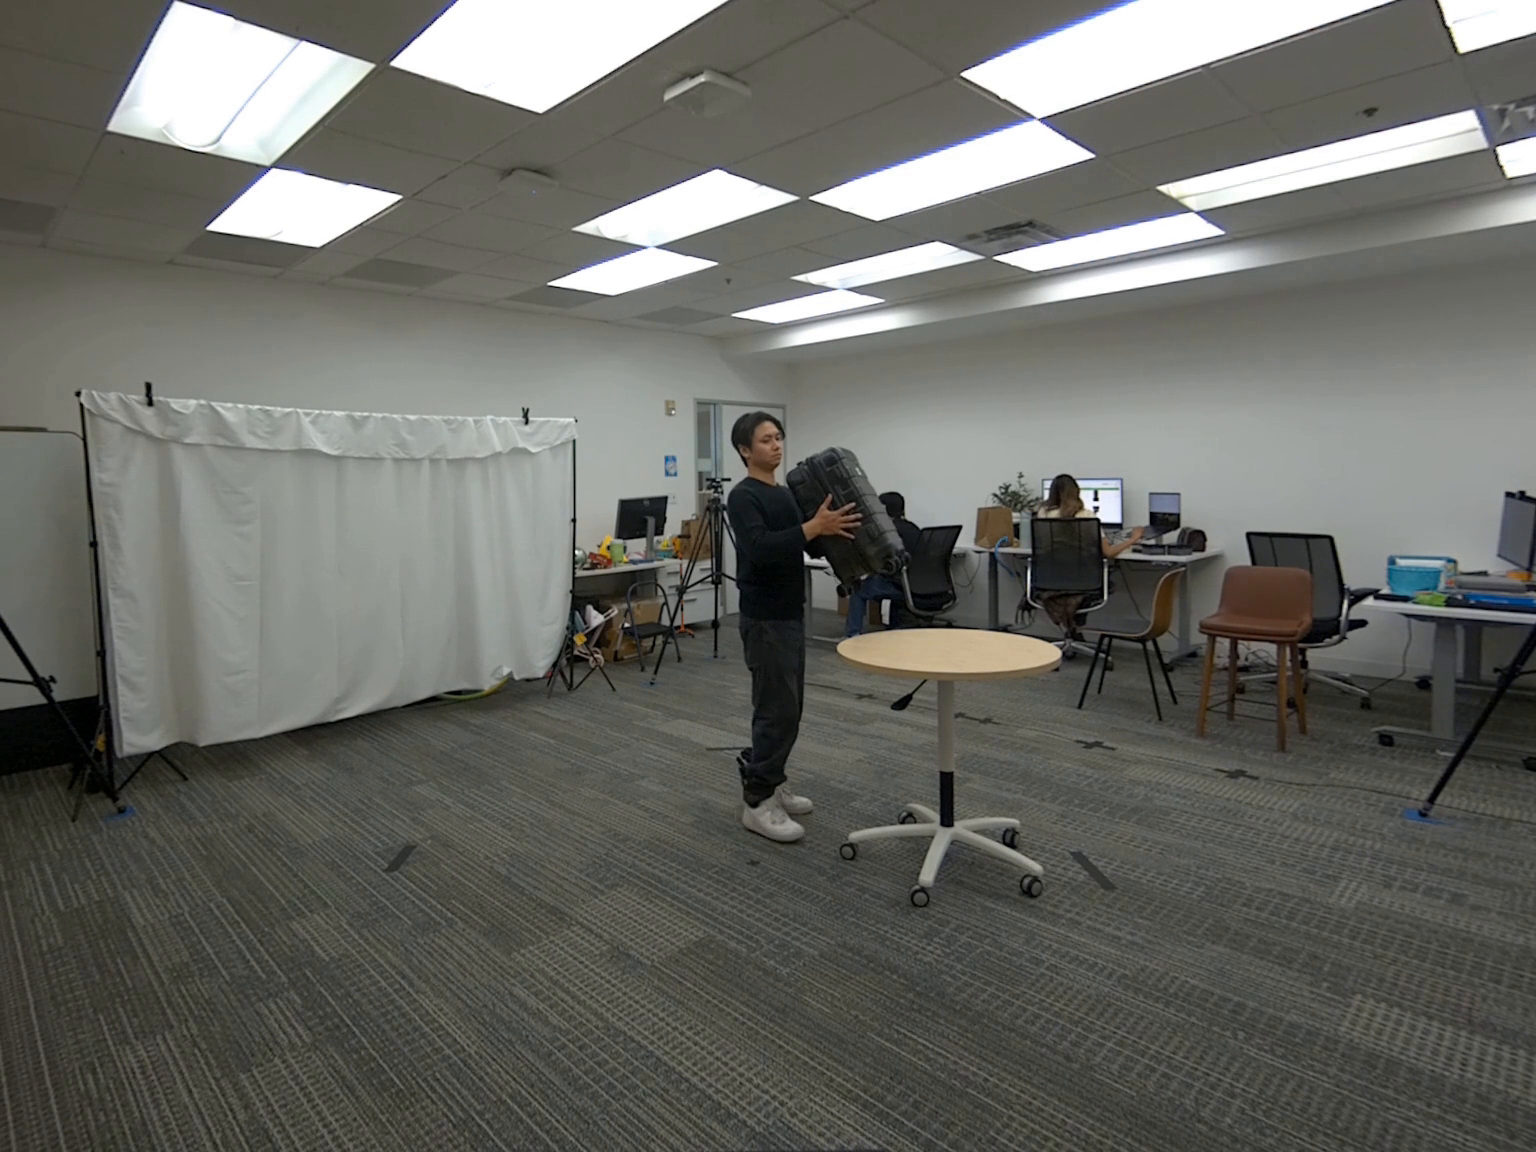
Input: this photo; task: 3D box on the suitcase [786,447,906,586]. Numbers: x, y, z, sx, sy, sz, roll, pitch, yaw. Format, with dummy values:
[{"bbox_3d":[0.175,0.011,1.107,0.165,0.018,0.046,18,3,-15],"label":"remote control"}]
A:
[{"bbox_3d":[0.309,-0.234,3.383,0.250,0.555,0.369,-29,-7,19],"label":"suitcase"}]
